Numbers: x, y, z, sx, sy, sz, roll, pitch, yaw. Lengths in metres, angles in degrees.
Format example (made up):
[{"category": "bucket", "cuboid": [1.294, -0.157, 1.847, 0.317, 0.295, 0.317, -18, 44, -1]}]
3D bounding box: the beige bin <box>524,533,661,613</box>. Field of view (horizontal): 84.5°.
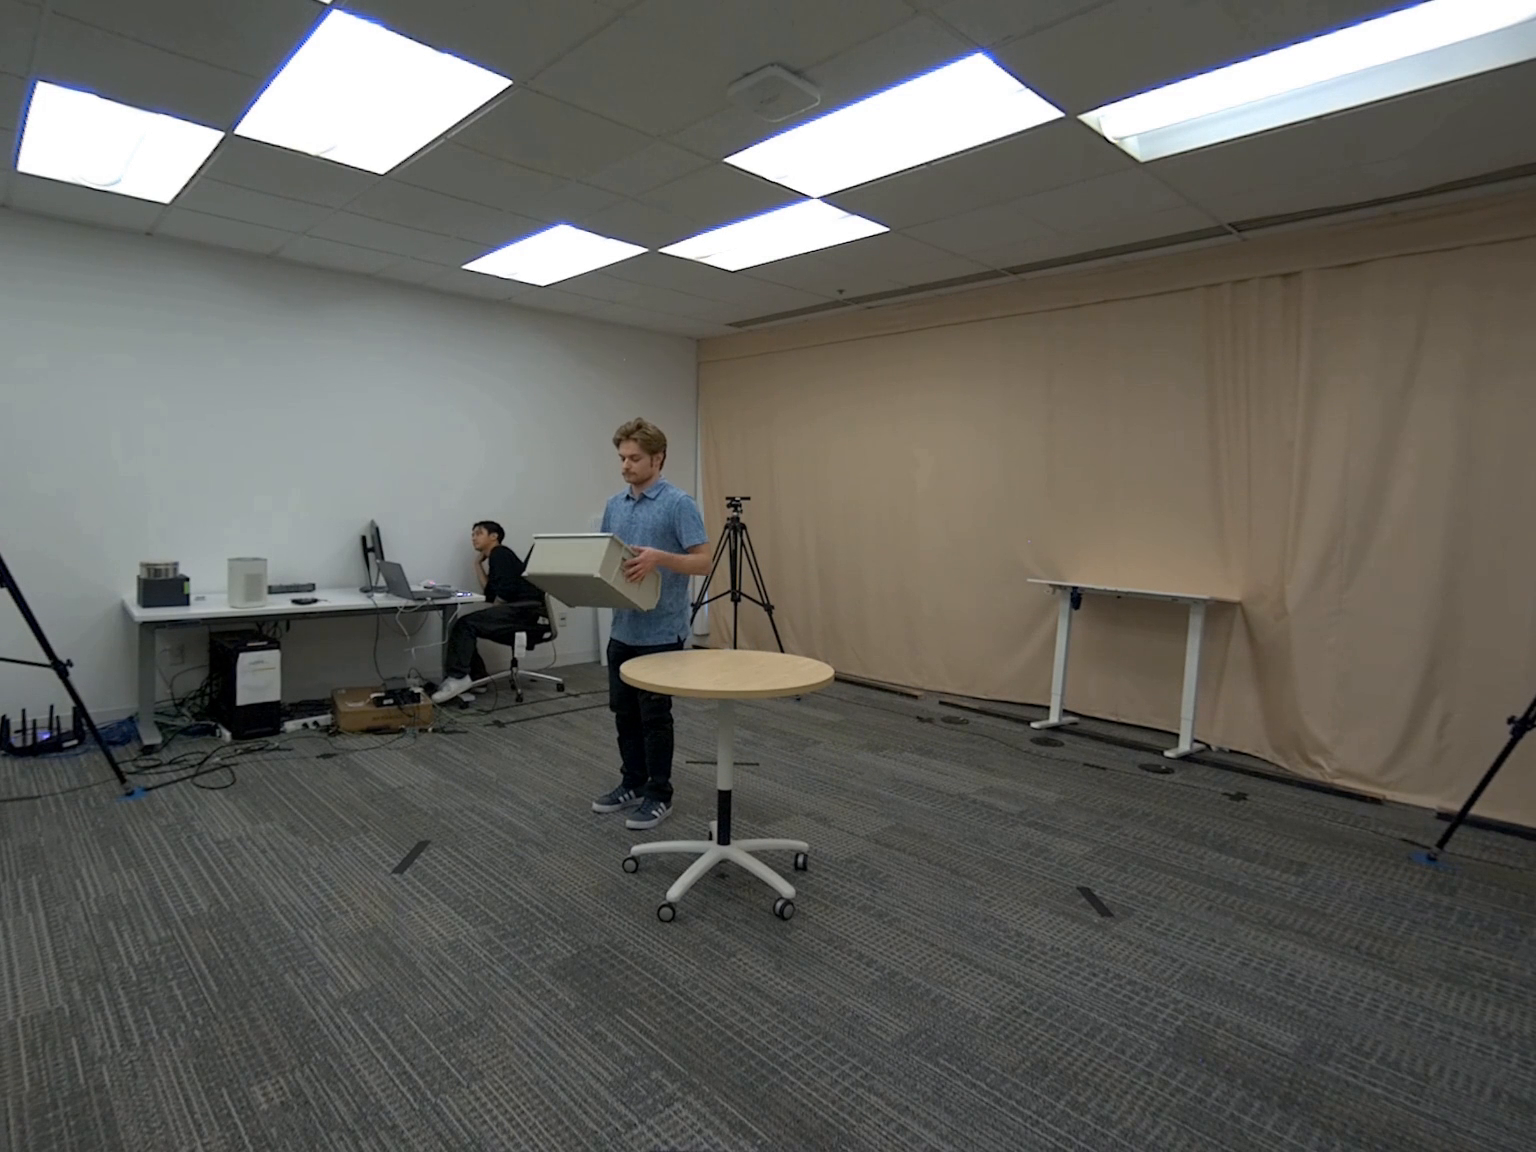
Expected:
[{"category": "beige bin", "cuboid": [-0.711, 0.003, 3.379, 0.431, 0.191, 0.365, 2, -23, 32]}]
